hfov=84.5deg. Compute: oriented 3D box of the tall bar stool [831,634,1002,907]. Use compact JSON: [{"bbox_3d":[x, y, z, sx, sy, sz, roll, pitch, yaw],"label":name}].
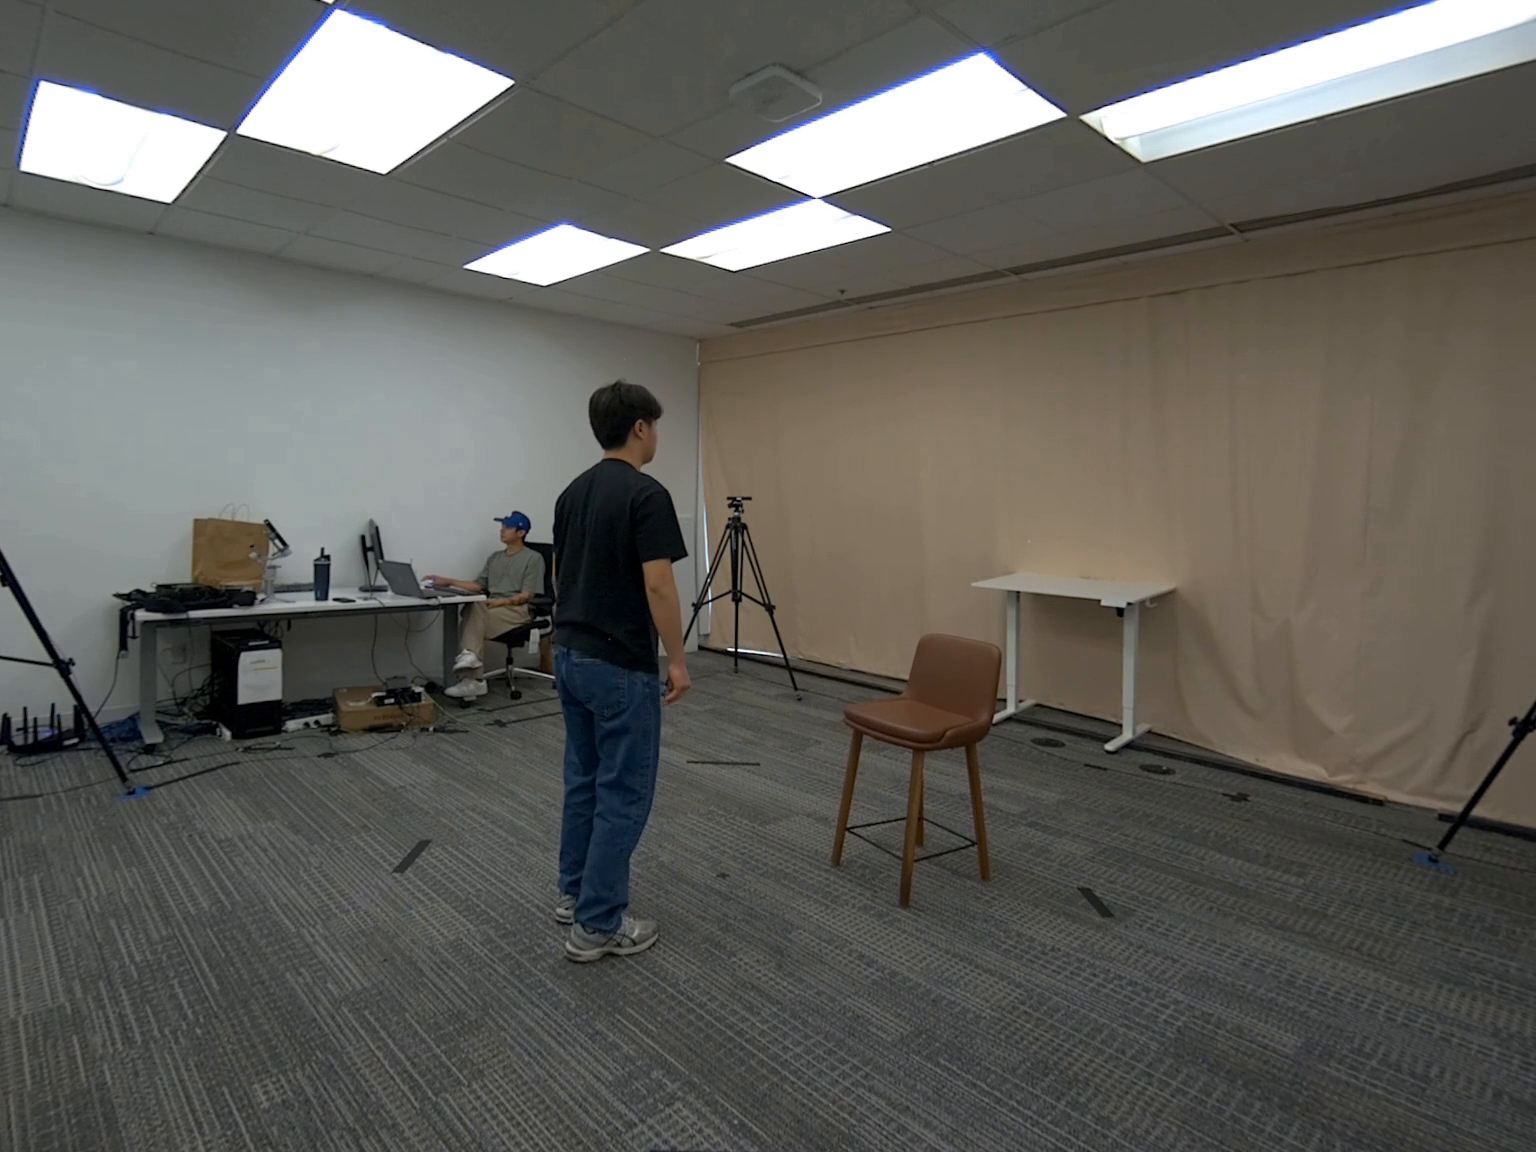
[{"bbox_3d":[0.551,0.684,3.150,0.457,0.888,0.467,2,3,-33],"label":"tall bar stool"}]
